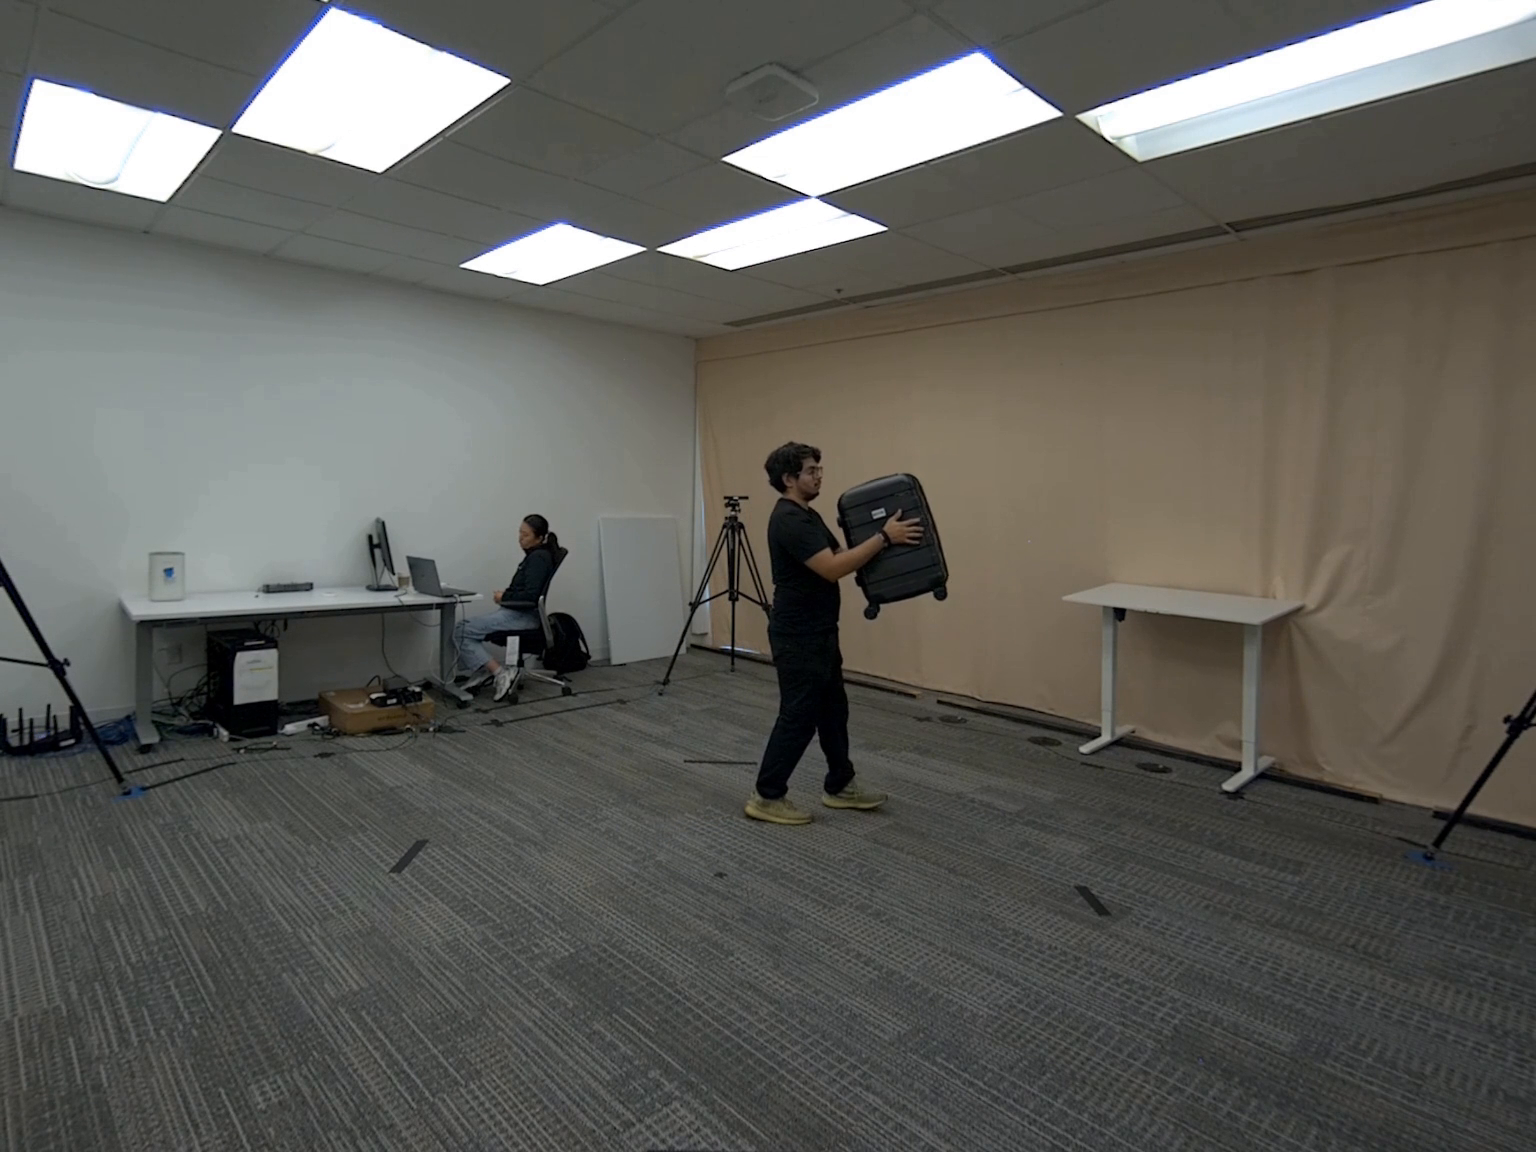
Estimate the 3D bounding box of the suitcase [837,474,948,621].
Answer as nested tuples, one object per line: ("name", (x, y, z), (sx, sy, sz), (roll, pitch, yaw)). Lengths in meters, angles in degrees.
("suitcase", (0.522, -0.145, 3.530), (0.379, 0.550, 0.246), (-16, -1, 17))
